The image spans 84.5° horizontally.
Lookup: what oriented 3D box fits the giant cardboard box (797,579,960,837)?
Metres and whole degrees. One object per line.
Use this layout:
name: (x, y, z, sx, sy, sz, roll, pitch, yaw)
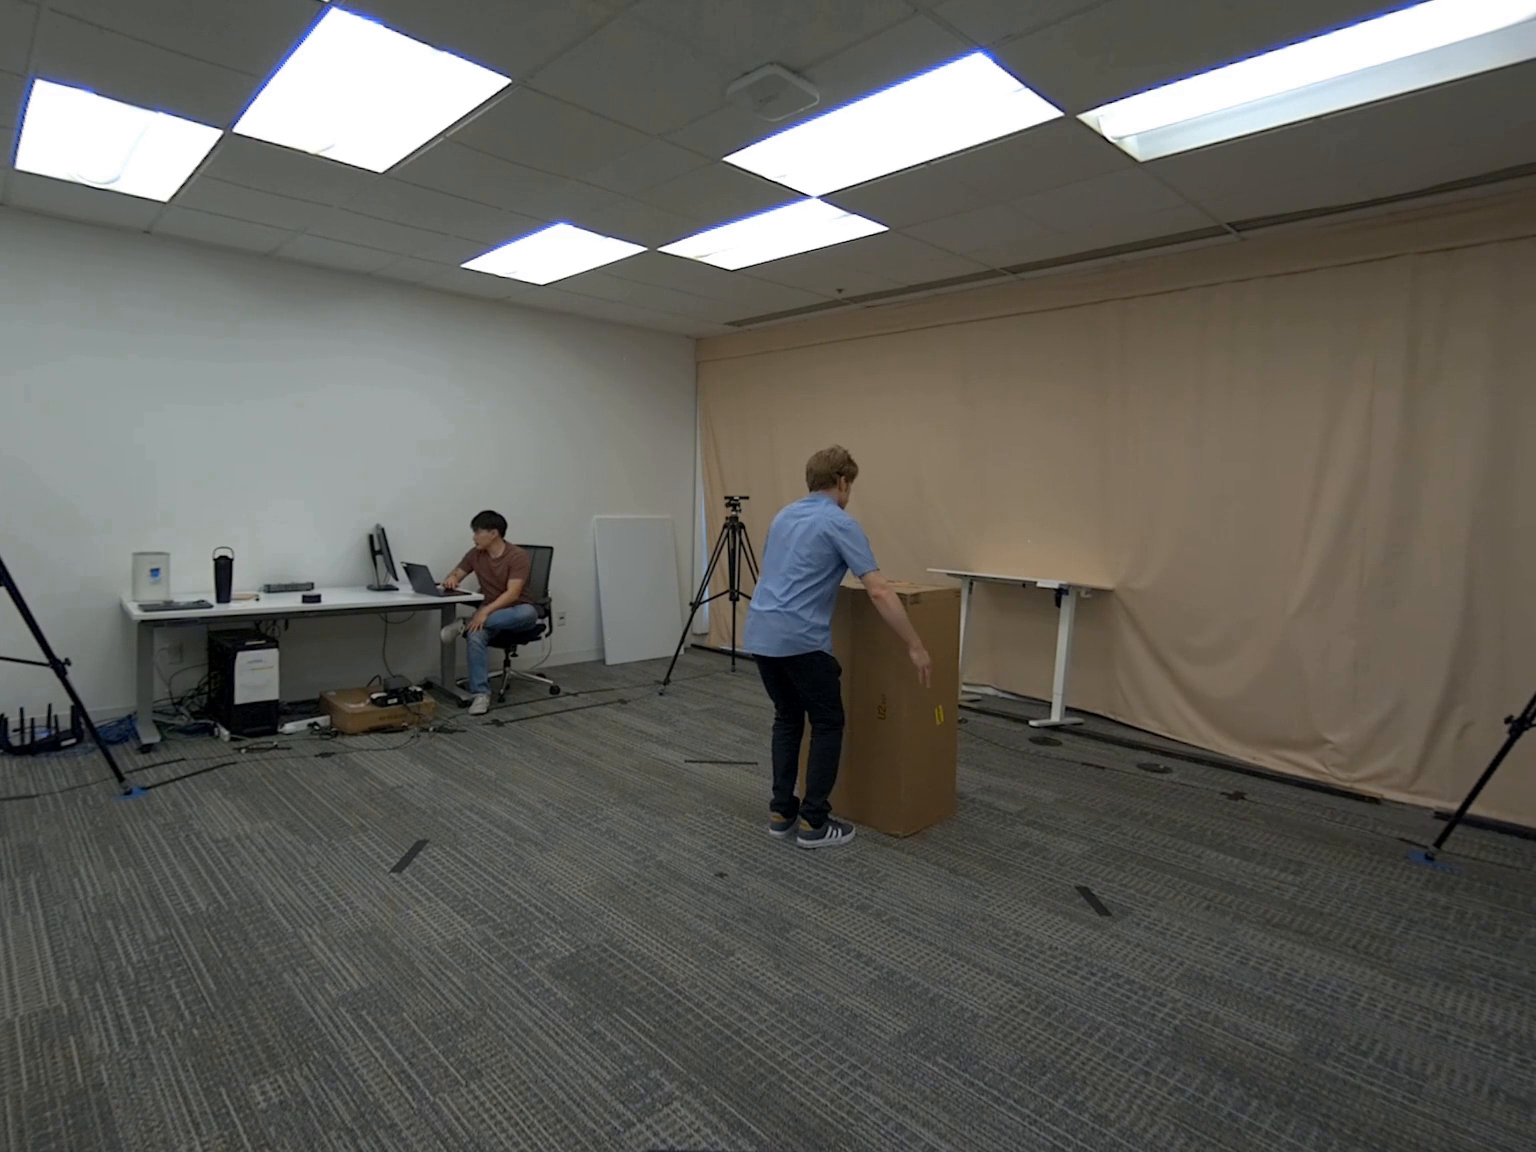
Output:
giant cardboard box: (0.493, 0.548, 3.813, 0.592, 1.024, 0.416, 4, 4, 44)
